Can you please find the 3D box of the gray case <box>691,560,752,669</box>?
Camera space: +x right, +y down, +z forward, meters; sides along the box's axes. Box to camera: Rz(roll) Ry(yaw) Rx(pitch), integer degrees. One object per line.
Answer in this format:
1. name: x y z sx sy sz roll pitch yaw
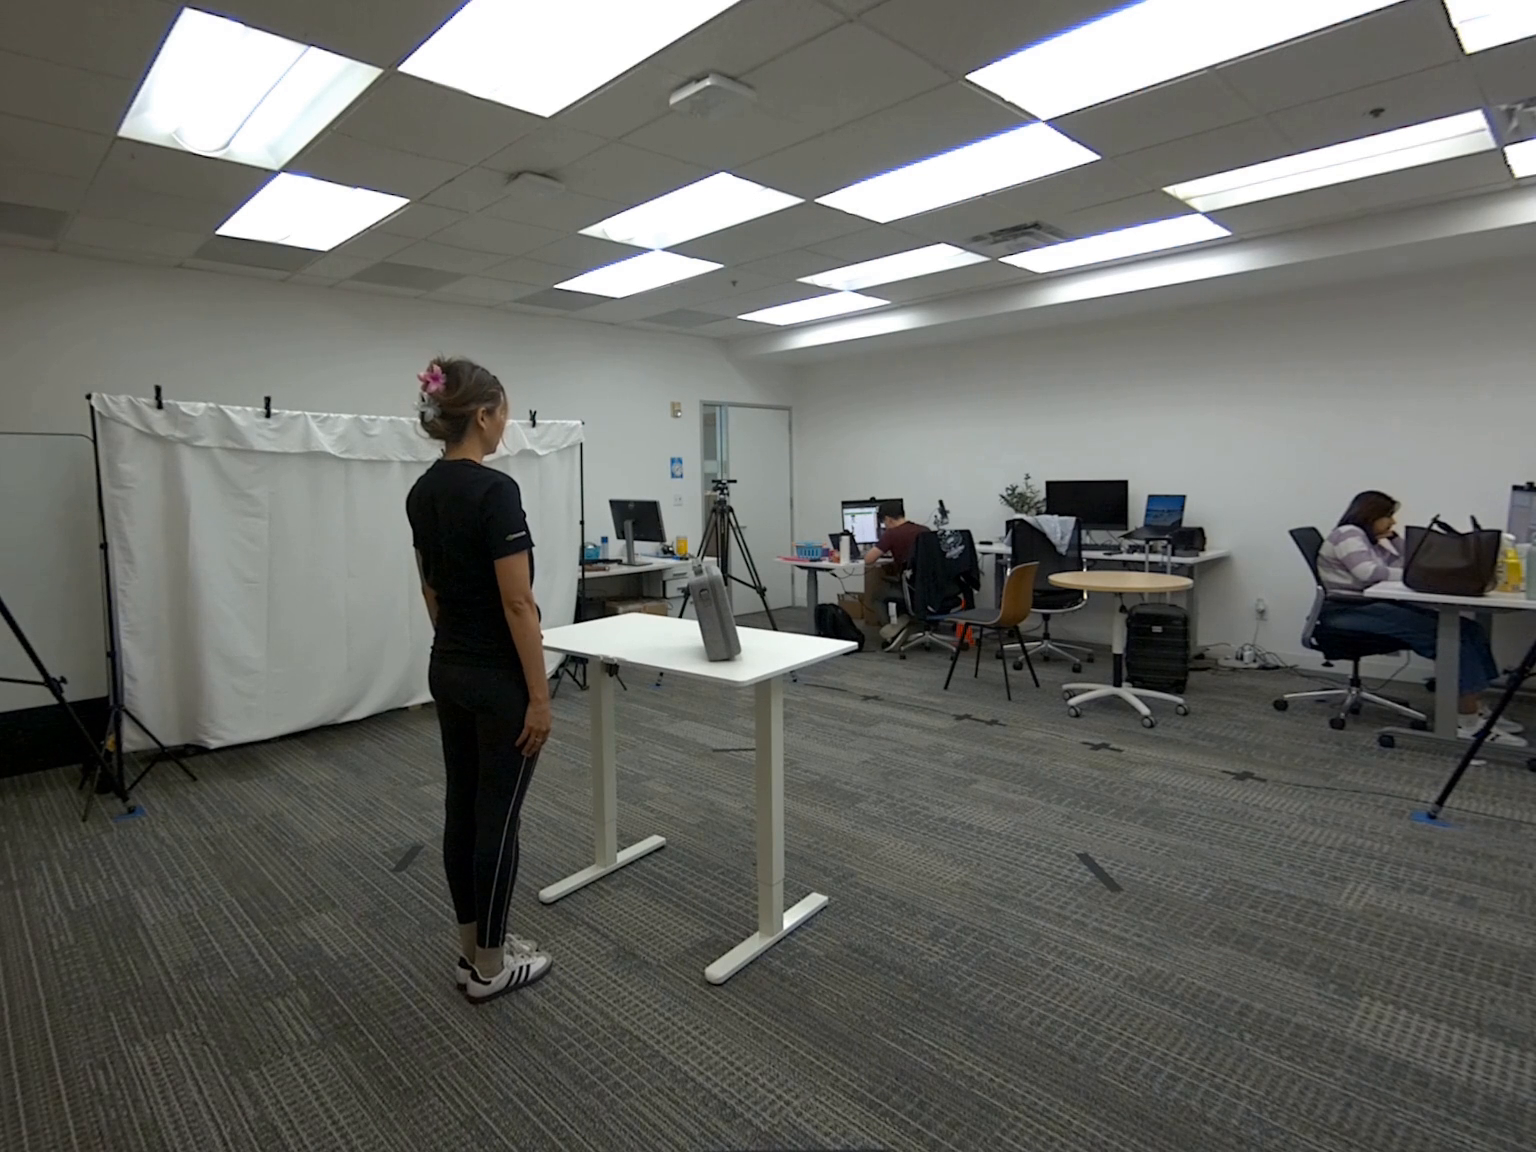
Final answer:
1. gray case: -0.144 0.105 2.542 0.104 0.259 0.259 -13 7 -5
